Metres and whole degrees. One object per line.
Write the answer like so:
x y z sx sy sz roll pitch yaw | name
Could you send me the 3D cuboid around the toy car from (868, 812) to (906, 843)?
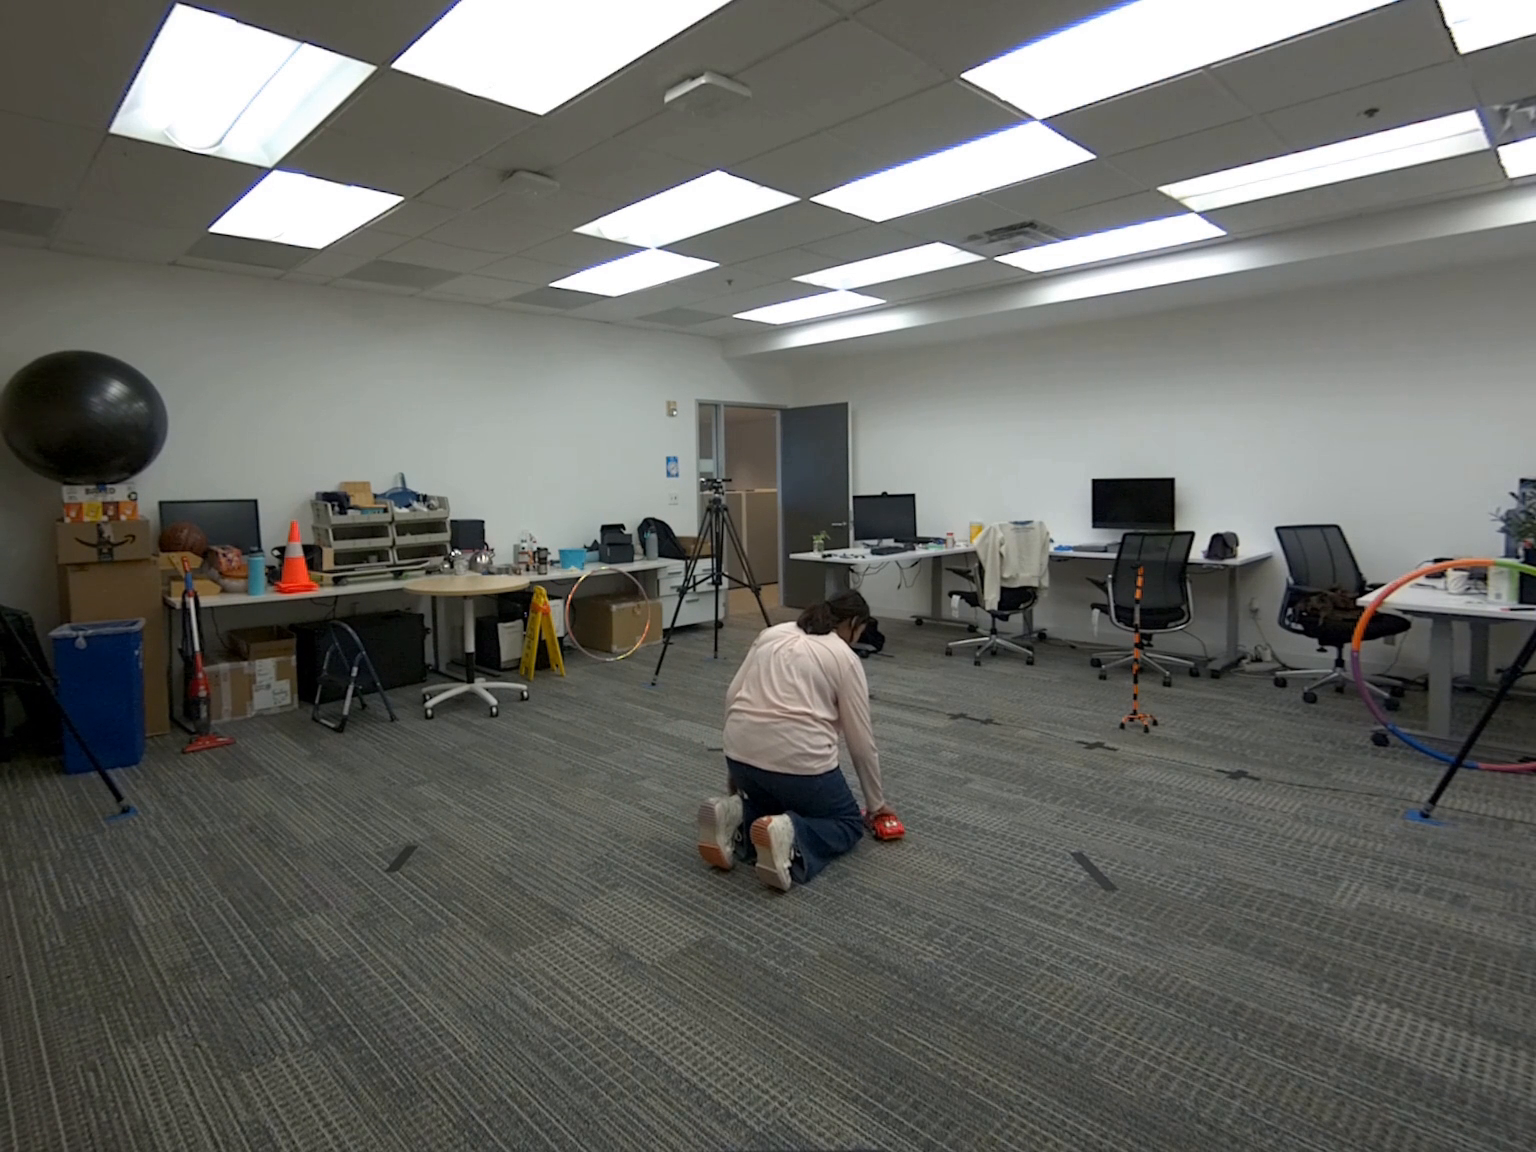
0.442 0.968 3.342 0.128 0.083 0.257 -1 -3 -17 | toy car
